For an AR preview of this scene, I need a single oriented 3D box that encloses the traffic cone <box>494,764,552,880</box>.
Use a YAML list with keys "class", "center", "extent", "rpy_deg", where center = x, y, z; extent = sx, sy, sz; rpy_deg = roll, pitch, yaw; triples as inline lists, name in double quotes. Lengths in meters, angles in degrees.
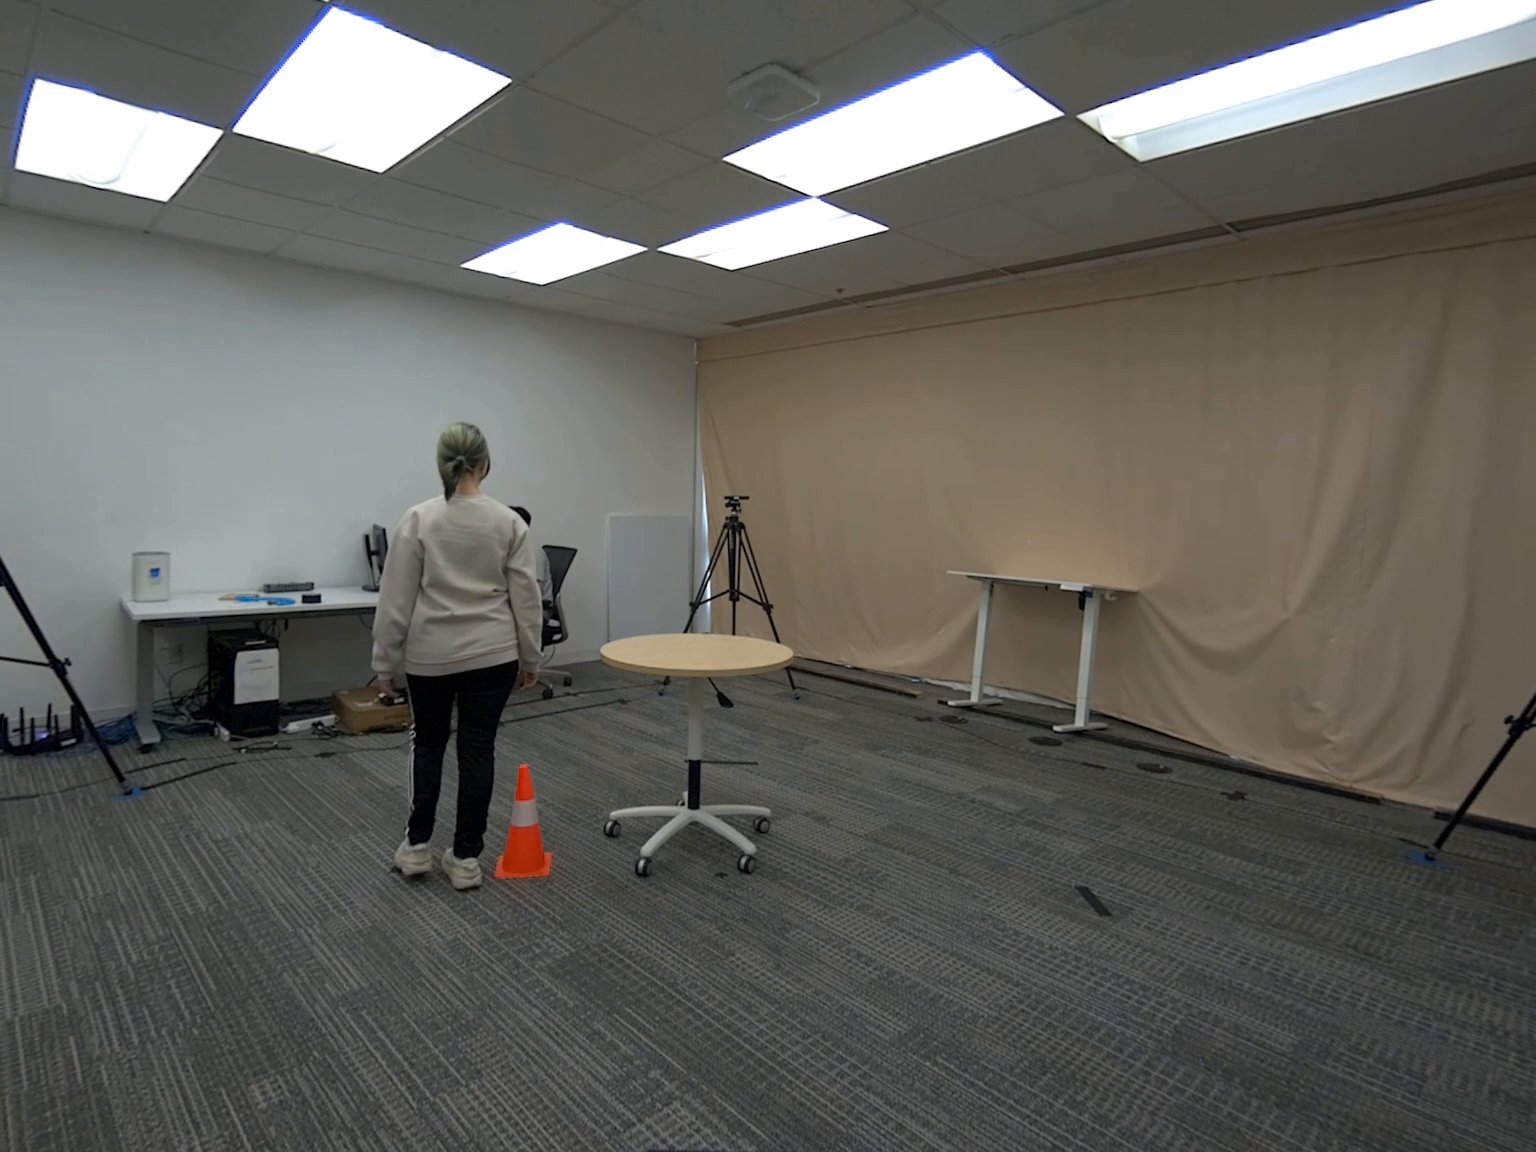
- class: "traffic cone"
  center: [-0.928, 0.899, 3.135]
  extent: [0.203, 0.383, 0.205]
  rpy_deg: [-1, 3, -11]
